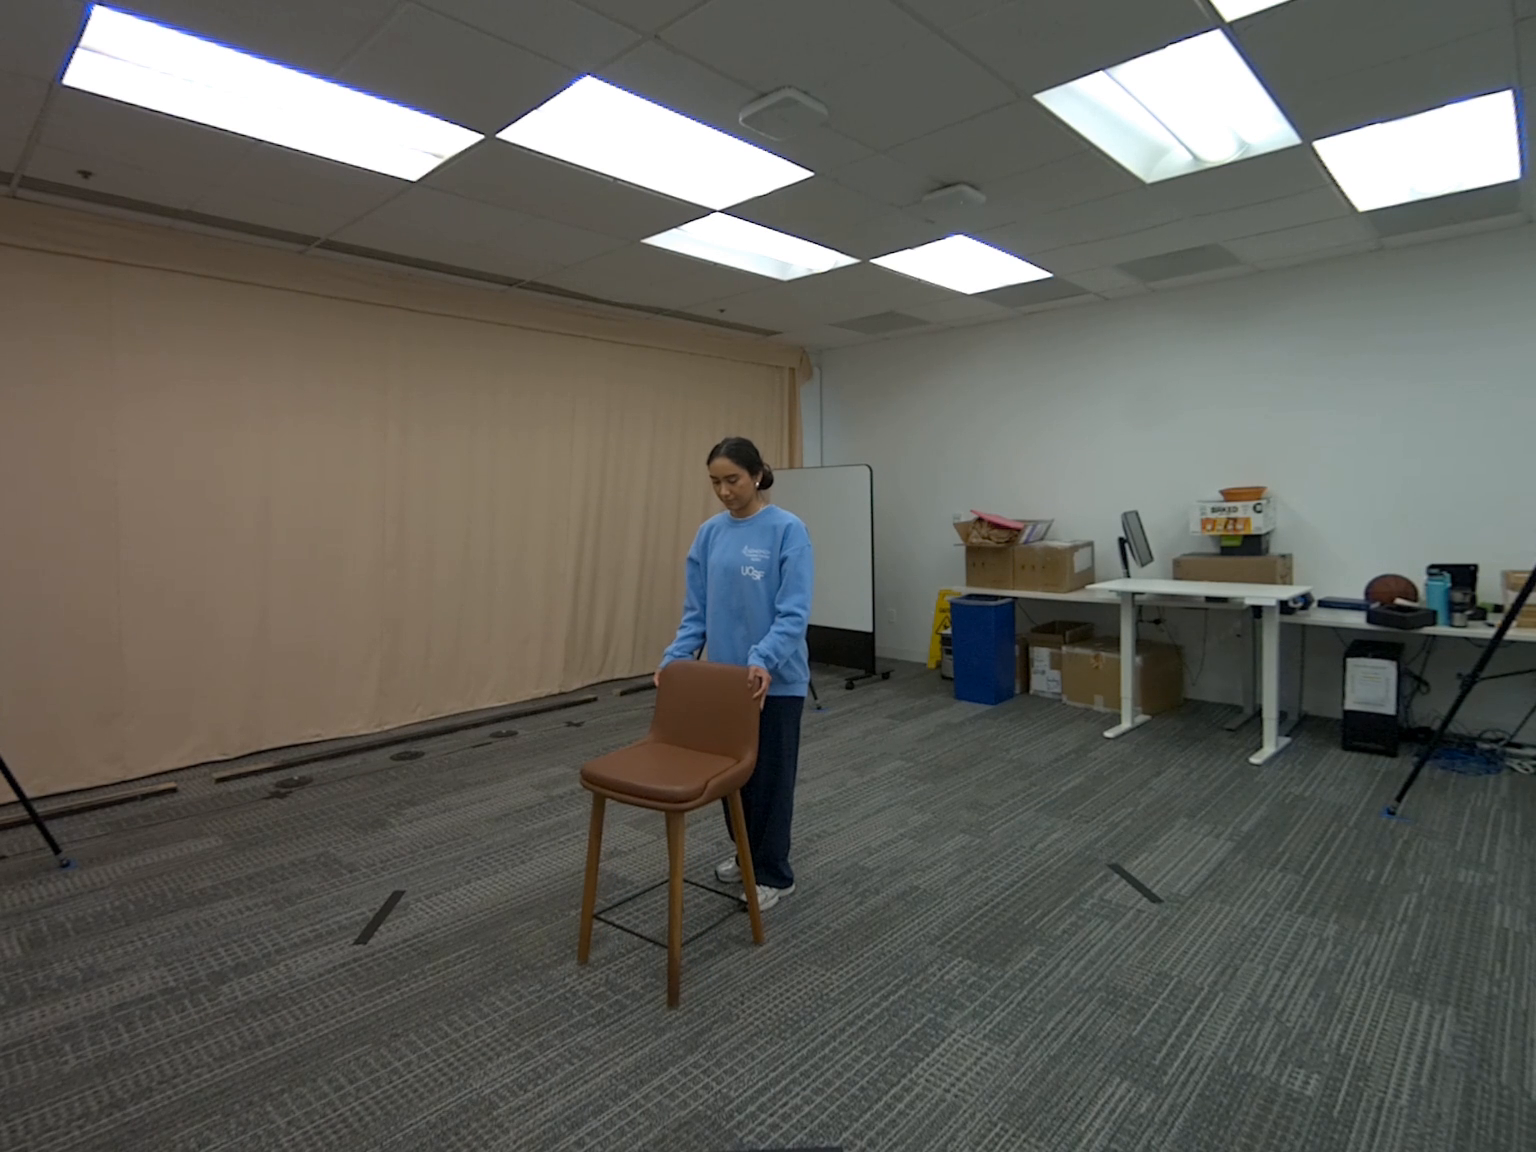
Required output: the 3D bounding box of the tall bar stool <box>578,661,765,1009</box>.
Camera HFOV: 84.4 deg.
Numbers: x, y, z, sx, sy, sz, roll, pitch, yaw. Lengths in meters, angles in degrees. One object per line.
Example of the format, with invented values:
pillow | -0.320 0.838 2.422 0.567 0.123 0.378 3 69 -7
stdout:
tall bar stool | -0.291 0.742 2.605 0.471 0.889 0.453 2 2 38
